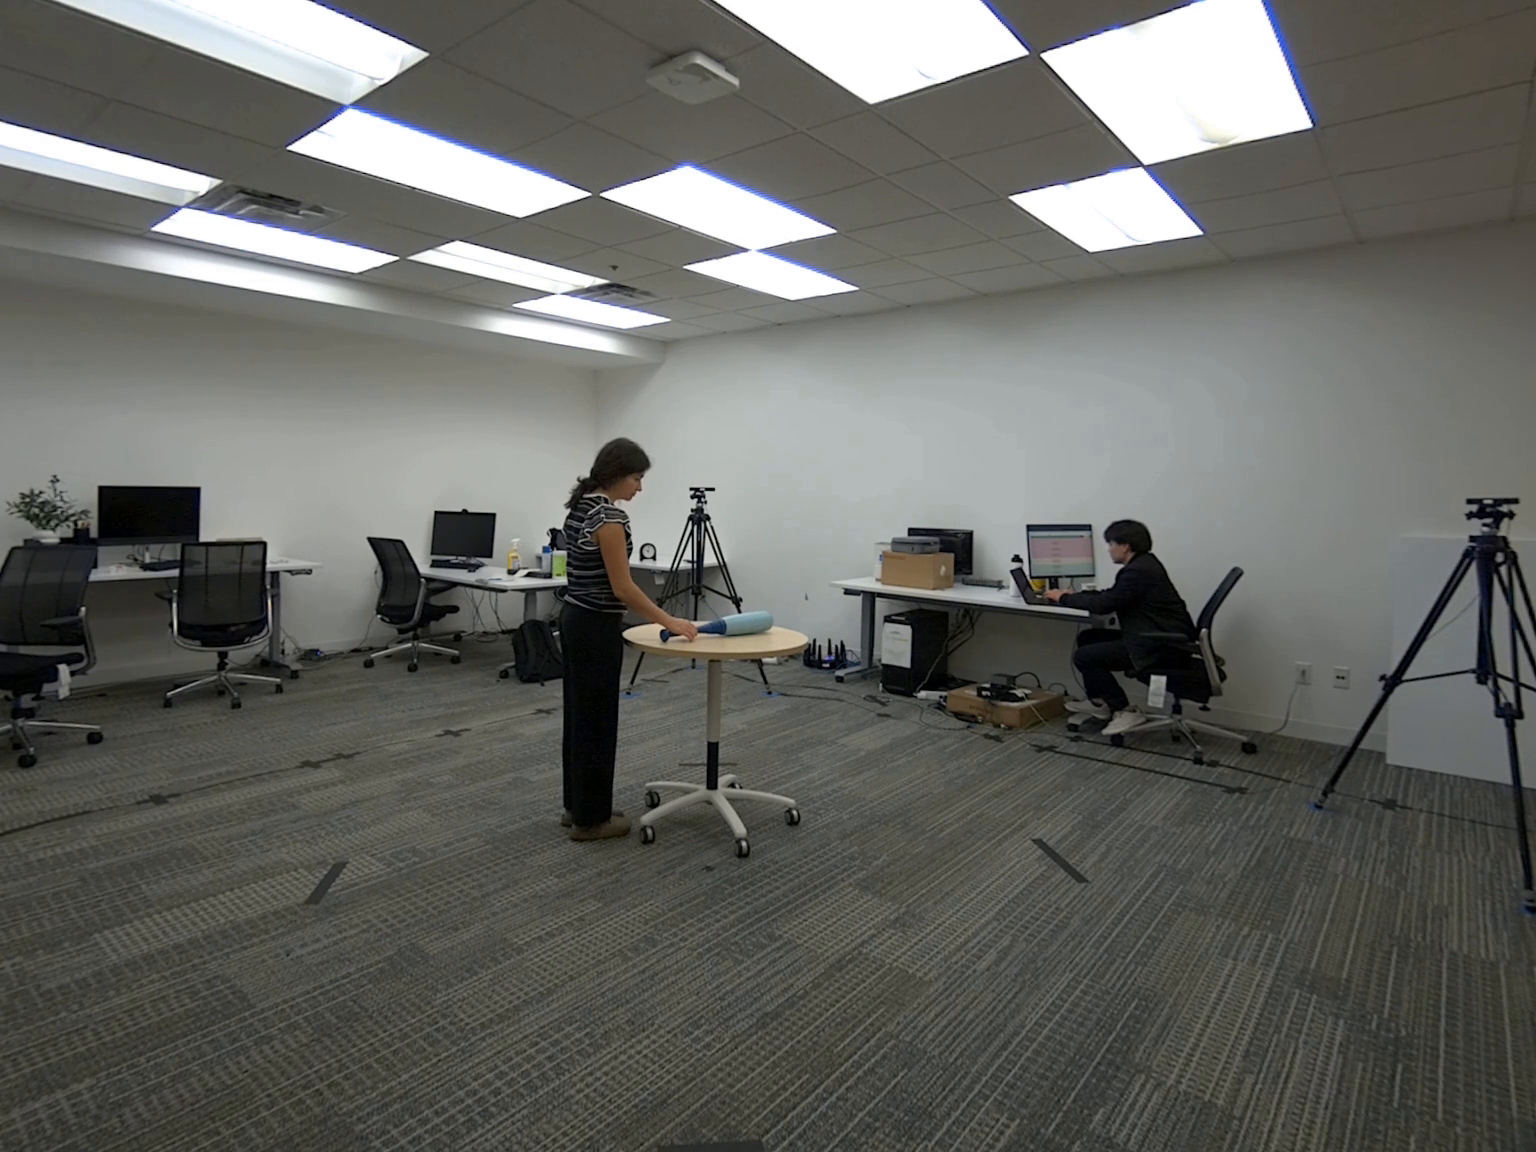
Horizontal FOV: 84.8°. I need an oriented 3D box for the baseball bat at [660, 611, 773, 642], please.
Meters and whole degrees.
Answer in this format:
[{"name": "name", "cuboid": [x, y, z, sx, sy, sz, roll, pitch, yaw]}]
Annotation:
[{"name": "baseball bat", "cuboid": [-0.222, 0.216, 3.486, 0.528, 0.088, 0.092, -6, 7, -35]}]
